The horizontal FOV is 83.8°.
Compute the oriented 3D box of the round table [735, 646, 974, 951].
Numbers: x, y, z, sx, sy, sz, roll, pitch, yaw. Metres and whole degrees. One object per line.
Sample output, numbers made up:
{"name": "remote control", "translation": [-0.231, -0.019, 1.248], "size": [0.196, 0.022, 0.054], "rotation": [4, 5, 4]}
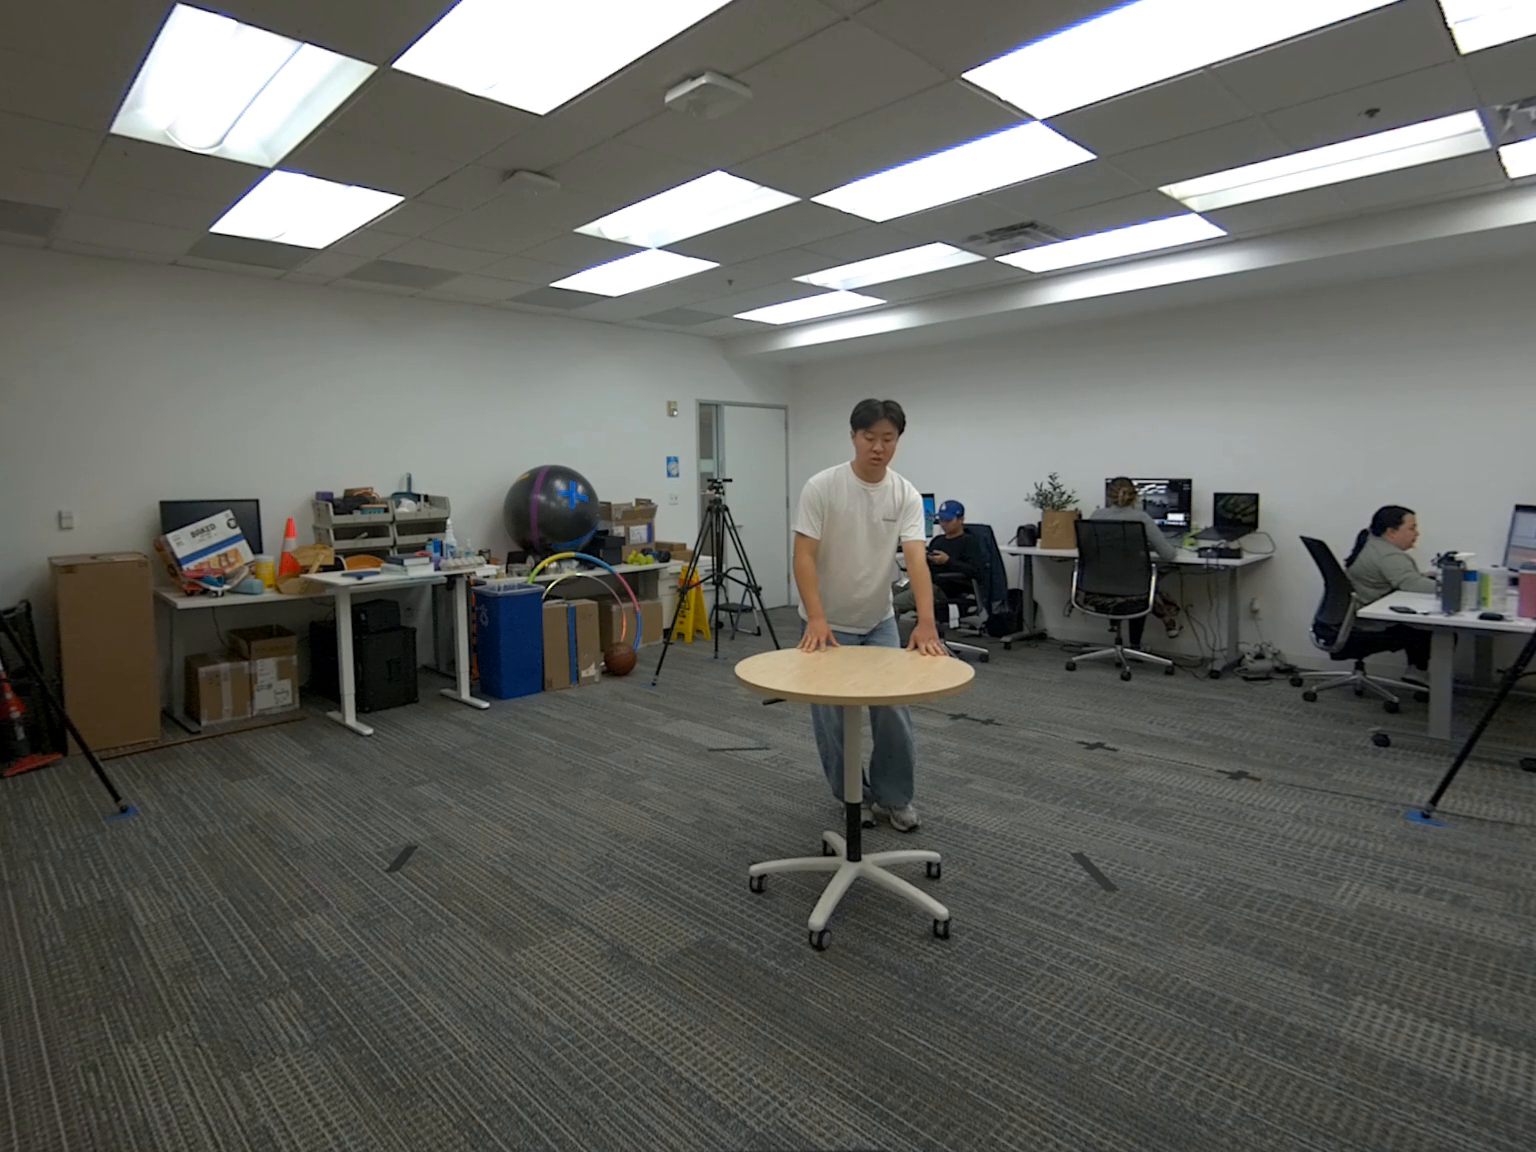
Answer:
{"name": "round table", "translation": [0.276, 0.690, 2.801], "size": [0.763, 0.791, 0.768], "rotation": [-1, 5, -2]}
